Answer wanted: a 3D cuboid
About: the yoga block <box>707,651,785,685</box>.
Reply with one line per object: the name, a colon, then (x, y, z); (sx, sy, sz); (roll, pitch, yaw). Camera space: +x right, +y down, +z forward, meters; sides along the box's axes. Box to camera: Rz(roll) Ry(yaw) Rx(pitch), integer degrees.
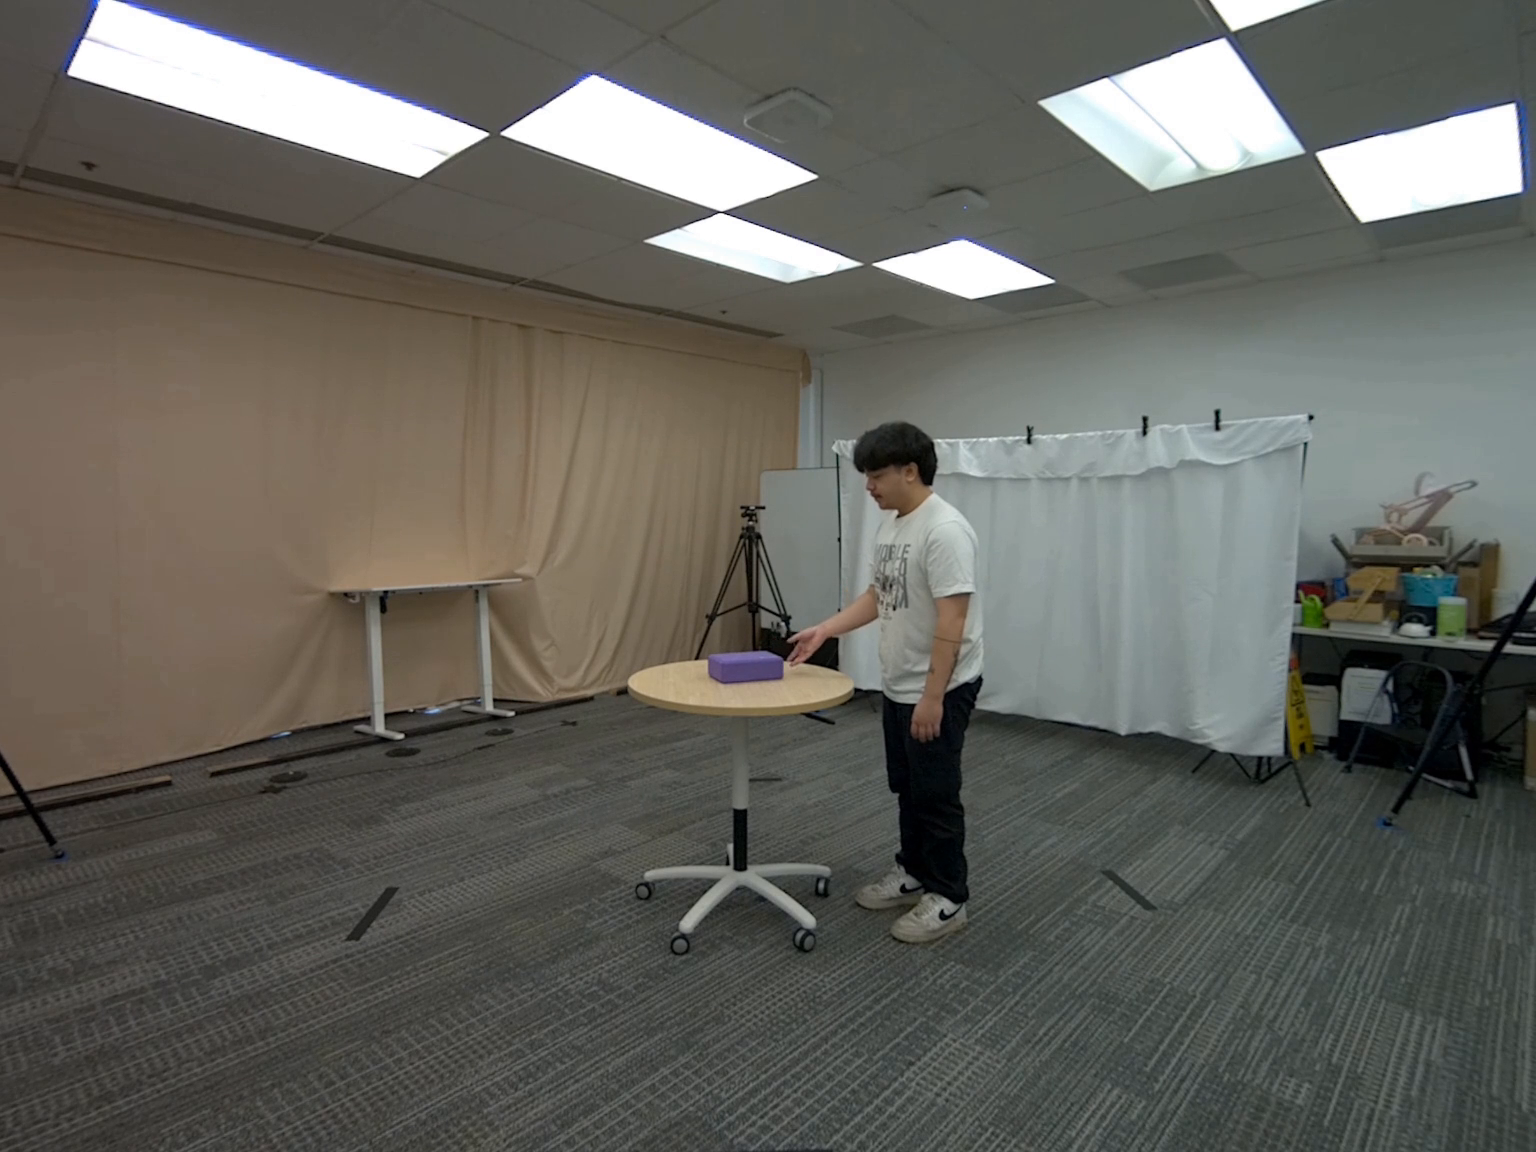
yoga block: (-0.075, 0.317, 2.907); (0.225, 0.076, 0.152); (-1, 5, -20)
